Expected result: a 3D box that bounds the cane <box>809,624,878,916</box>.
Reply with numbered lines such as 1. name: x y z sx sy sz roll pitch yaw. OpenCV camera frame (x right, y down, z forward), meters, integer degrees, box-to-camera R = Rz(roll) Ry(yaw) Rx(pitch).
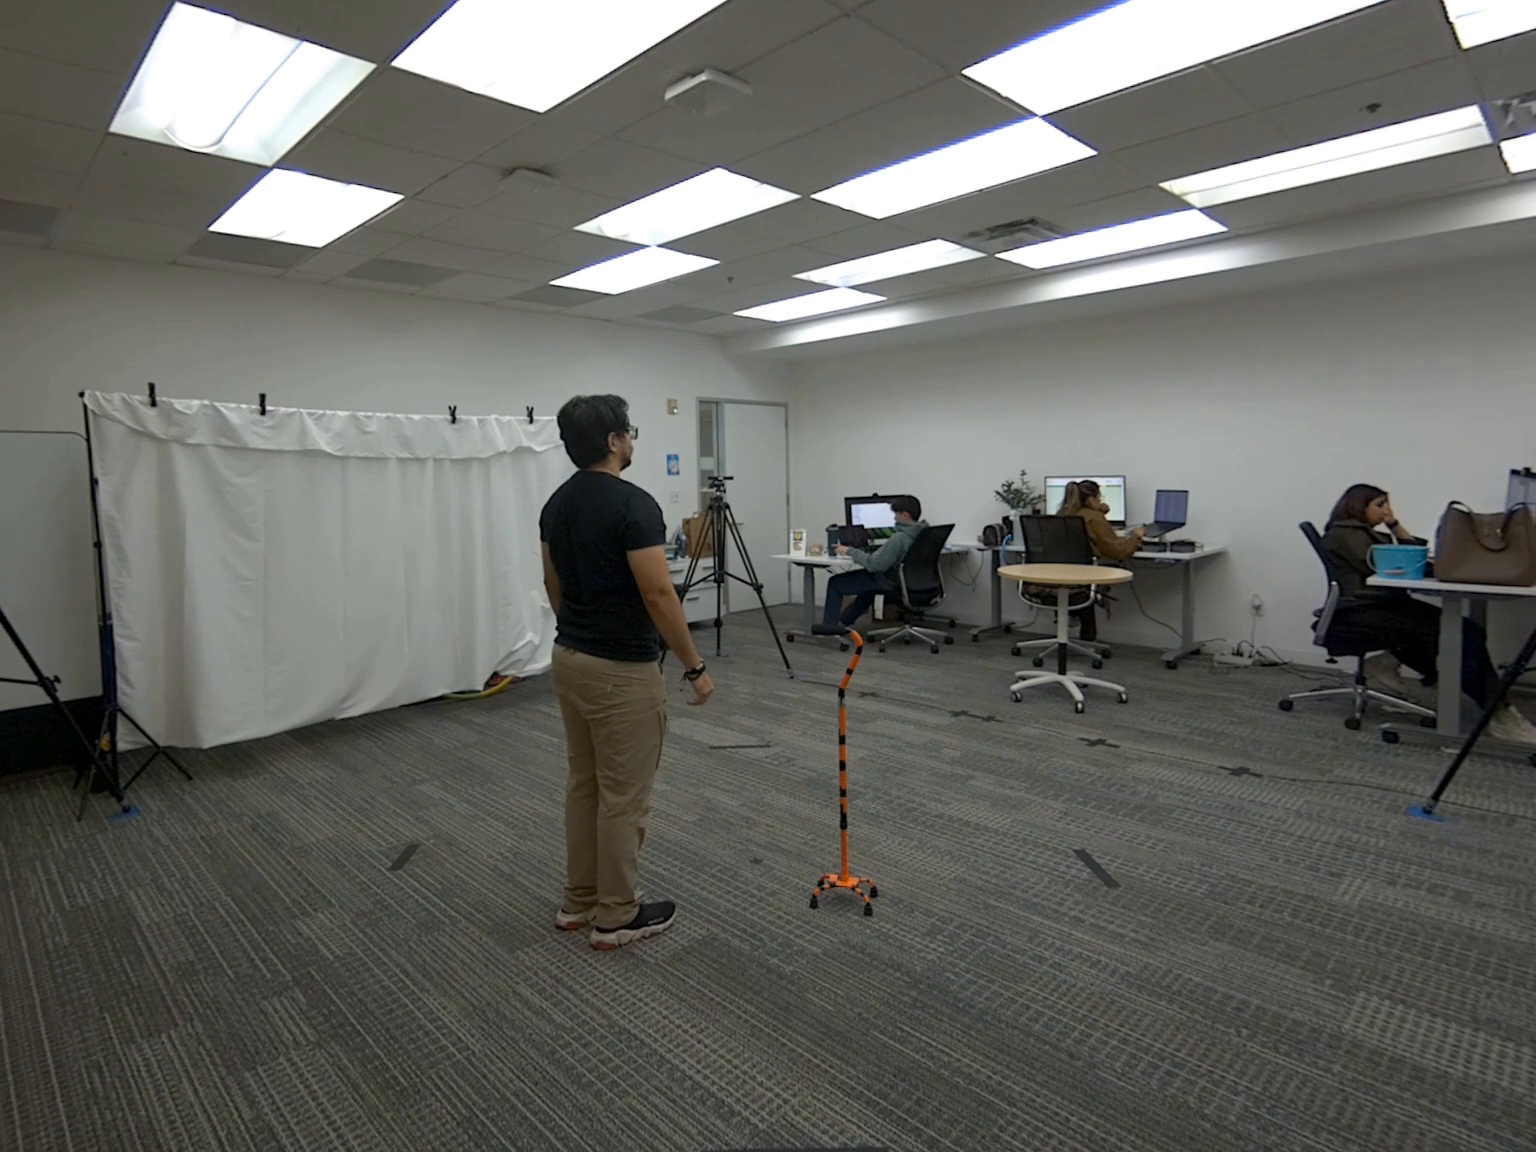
1. cane: 0.255 0.618 2.766 0.210 0.904 0.150 1 4 16
